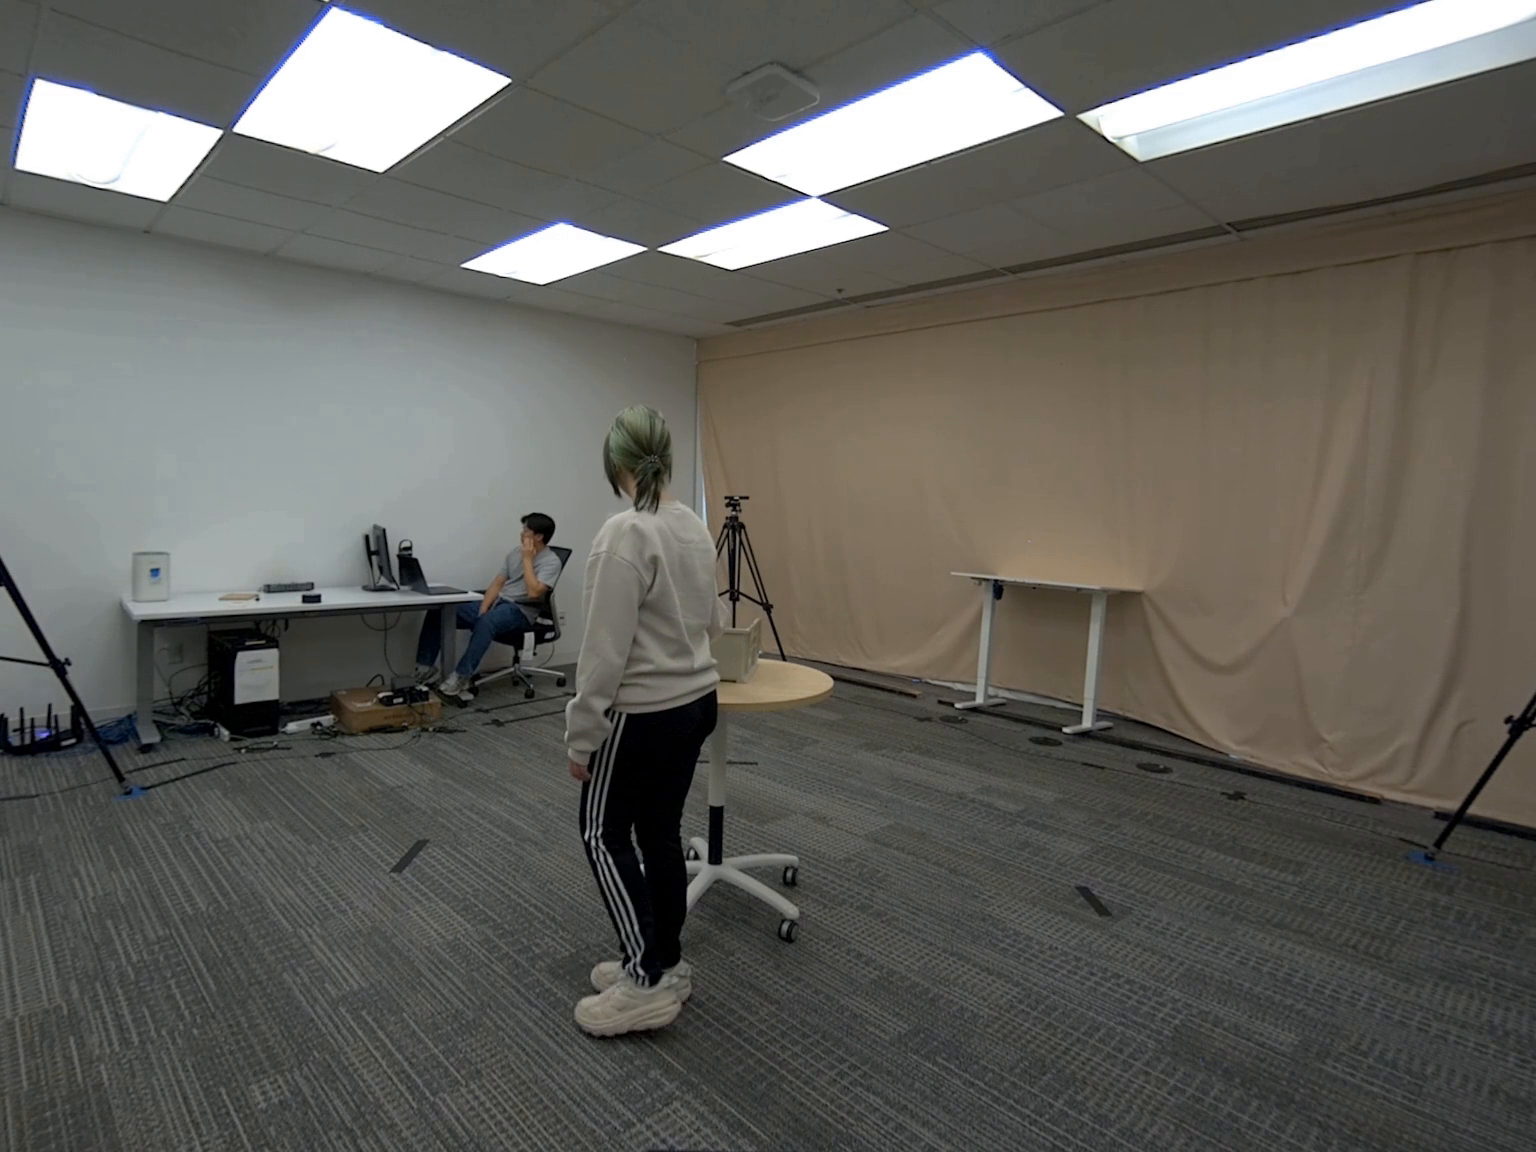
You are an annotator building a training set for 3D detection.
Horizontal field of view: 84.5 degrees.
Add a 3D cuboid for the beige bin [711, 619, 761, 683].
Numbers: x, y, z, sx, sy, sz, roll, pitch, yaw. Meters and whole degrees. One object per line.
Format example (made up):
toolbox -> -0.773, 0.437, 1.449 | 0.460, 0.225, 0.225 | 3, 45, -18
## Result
beige bin -> -0.254, 0.241, 2.946 | 0.425, 0.188, 0.376 | 3, 6, 7
